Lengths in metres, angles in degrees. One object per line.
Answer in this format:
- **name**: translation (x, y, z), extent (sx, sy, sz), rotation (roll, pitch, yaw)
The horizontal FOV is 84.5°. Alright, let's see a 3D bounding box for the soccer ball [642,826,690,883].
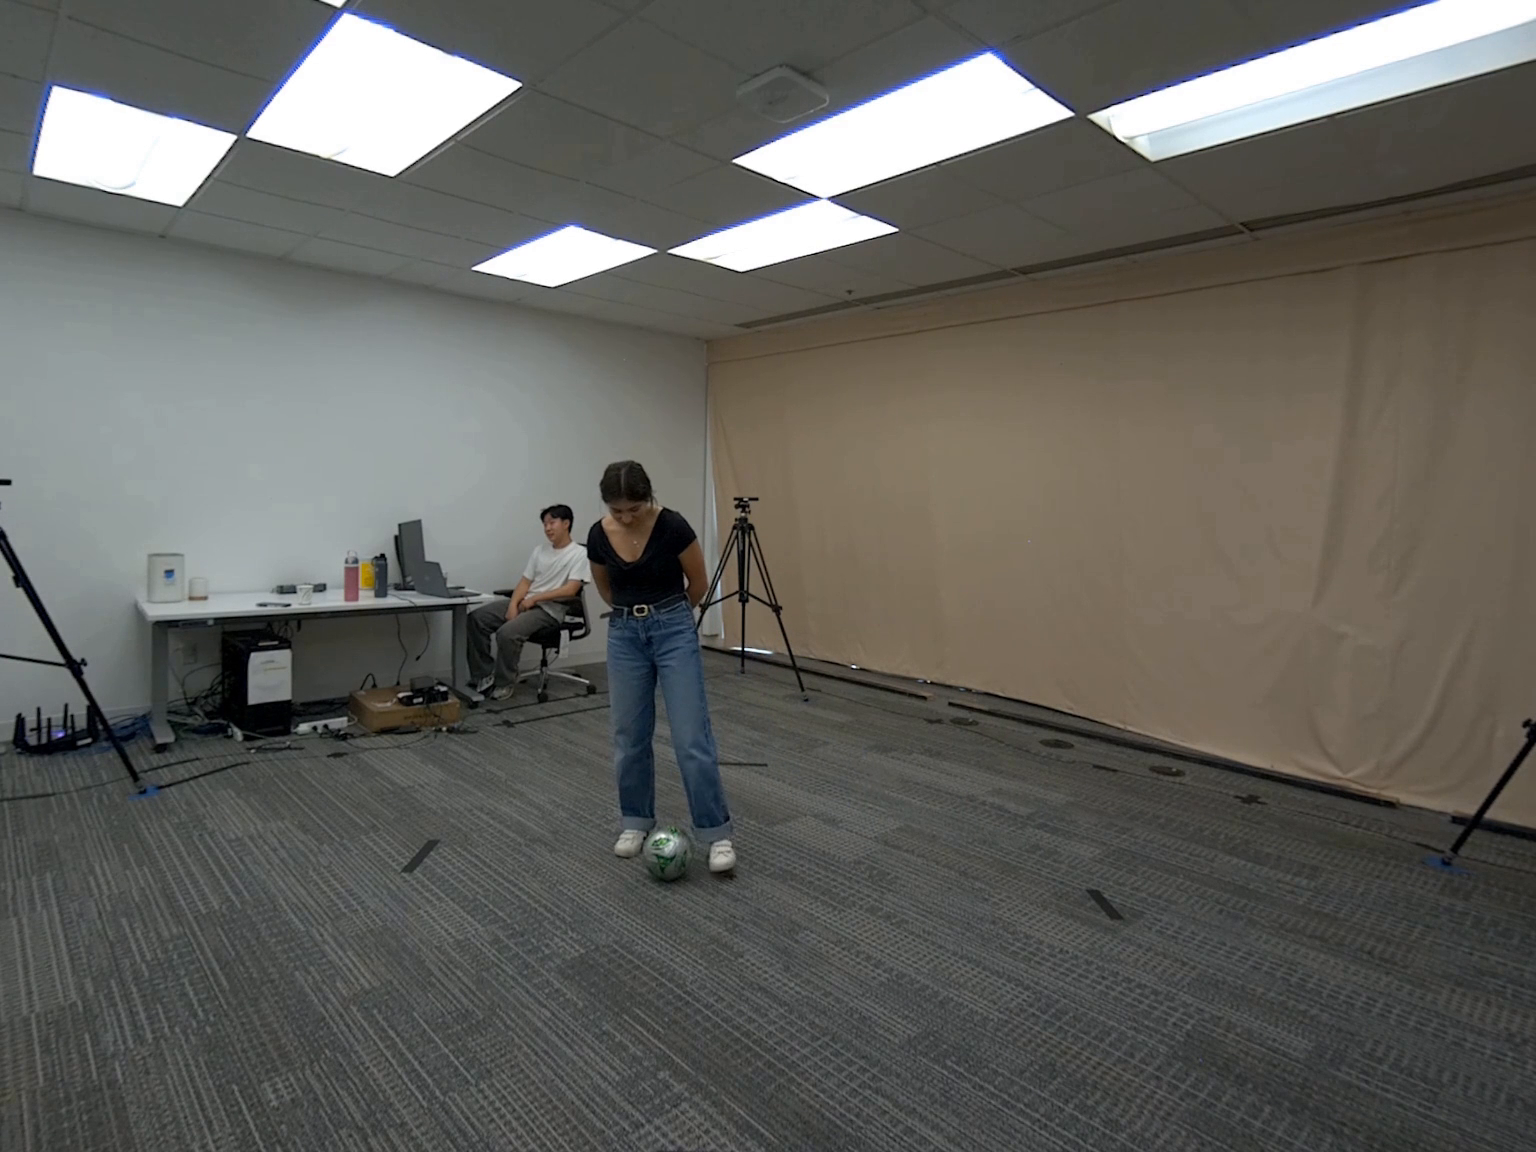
- **soccer ball**: translation (-0.372, 1.014, 3.070), extent (0.187, 0.187, 0.188), rotation (1, 4, -1)
